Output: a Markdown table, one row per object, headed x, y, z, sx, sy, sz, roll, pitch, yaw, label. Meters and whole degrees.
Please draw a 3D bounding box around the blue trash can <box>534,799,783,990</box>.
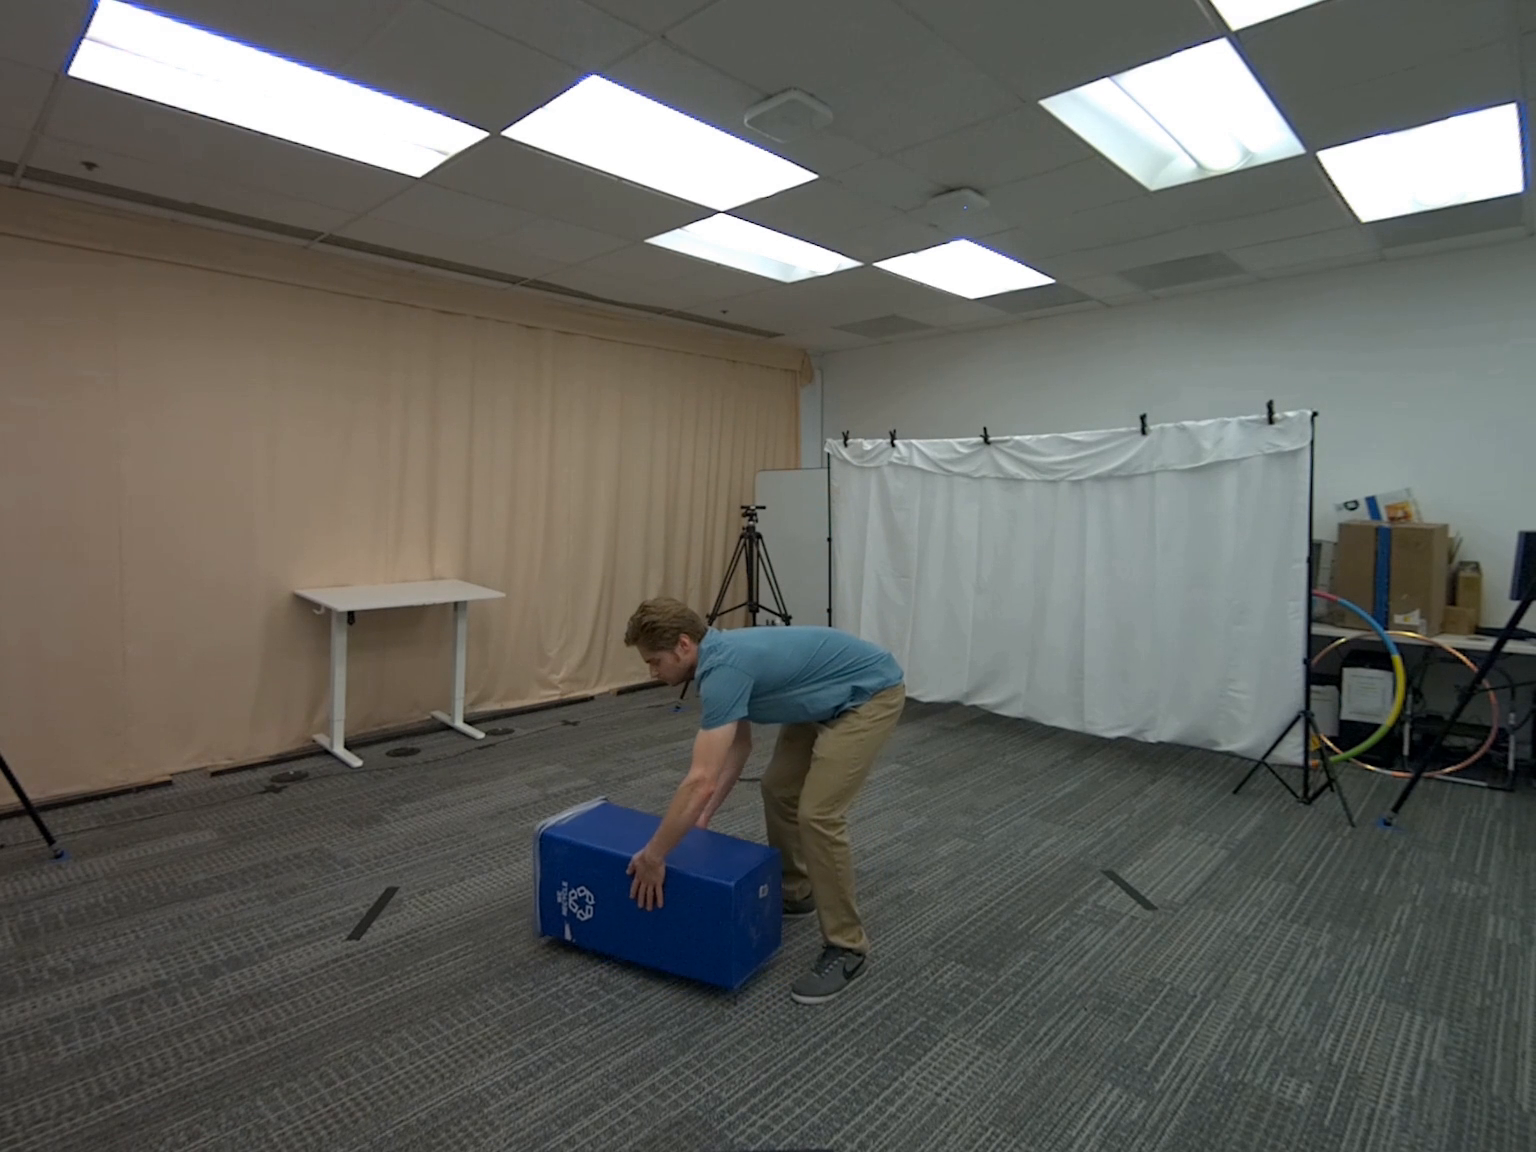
| x | y | z | sx | sy | sz | roll | pitch | yaw | label |
| --- | --- | --- | --- | --- | --- | --- | --- | --- | --- |
| -0.343 | 0.970 | 2.625 | 0.734 | 0.377 | 0.364 | 4 | 3 | 29 | blue trash can |
